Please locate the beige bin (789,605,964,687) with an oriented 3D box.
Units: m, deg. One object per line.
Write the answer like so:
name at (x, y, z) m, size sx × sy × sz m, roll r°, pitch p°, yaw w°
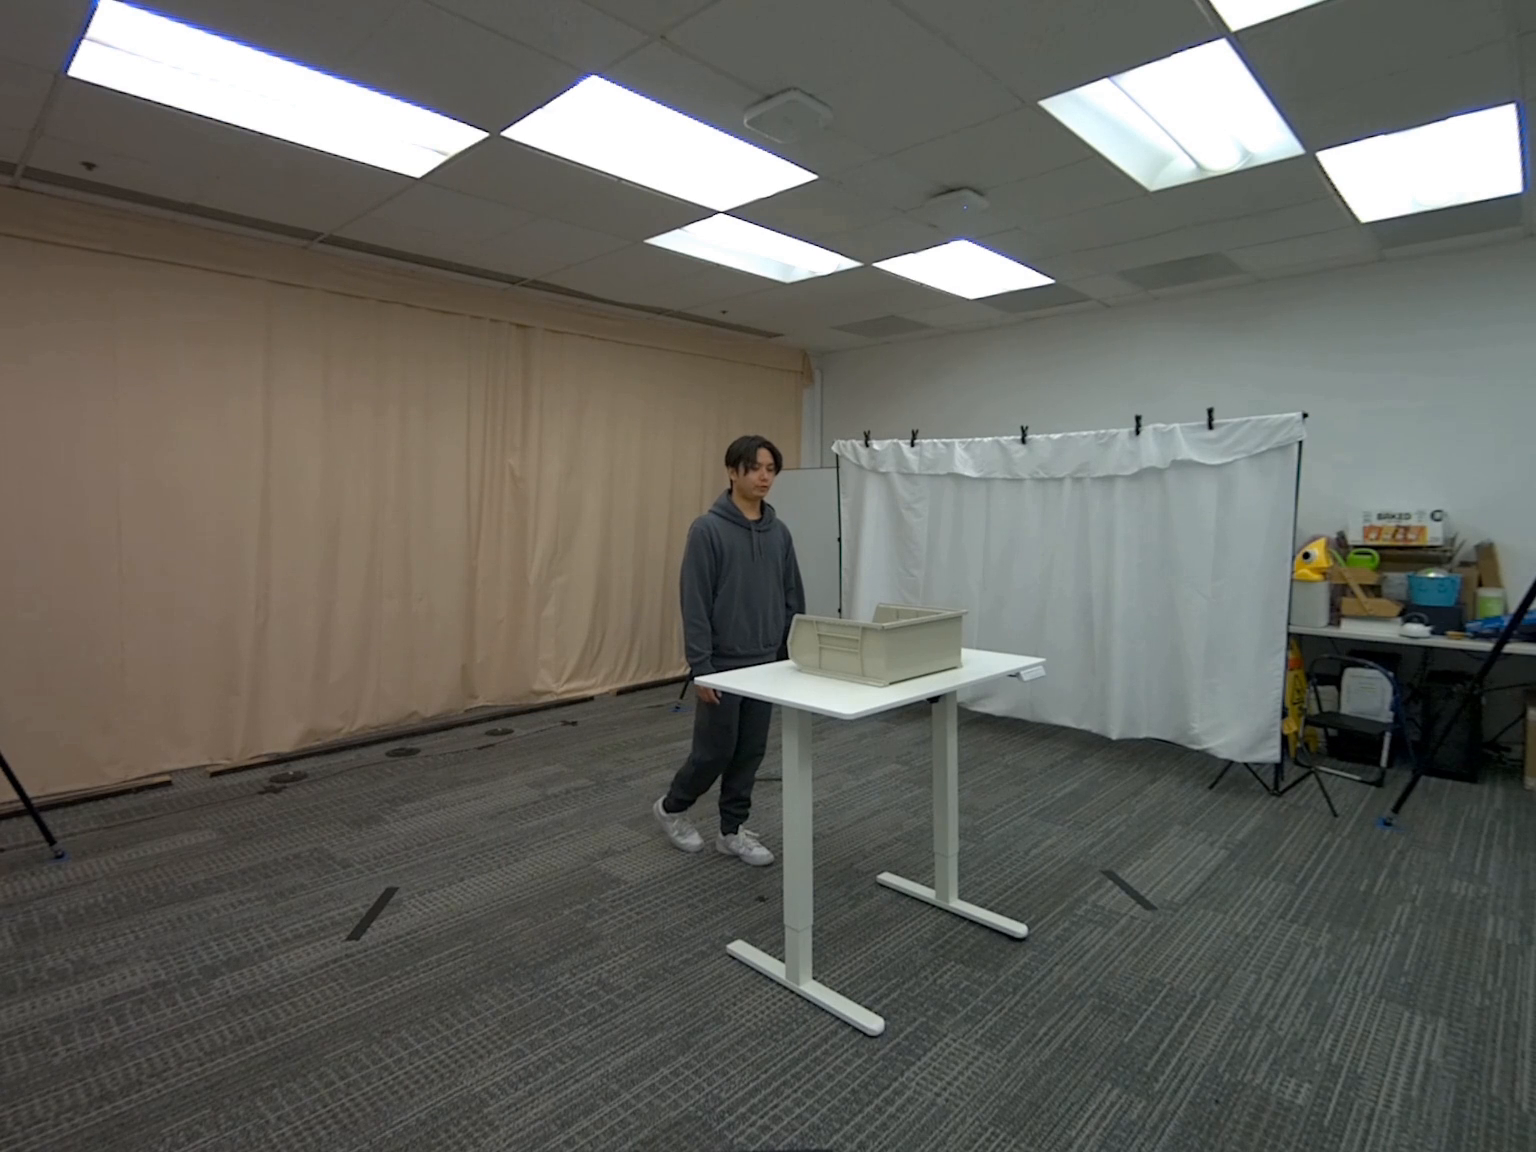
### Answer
beige bin at (0.345, 0.204, 2.612) m, size 0.409 × 0.188 × 0.390 m, roll -5°, pitch 7°, yaw -43°
